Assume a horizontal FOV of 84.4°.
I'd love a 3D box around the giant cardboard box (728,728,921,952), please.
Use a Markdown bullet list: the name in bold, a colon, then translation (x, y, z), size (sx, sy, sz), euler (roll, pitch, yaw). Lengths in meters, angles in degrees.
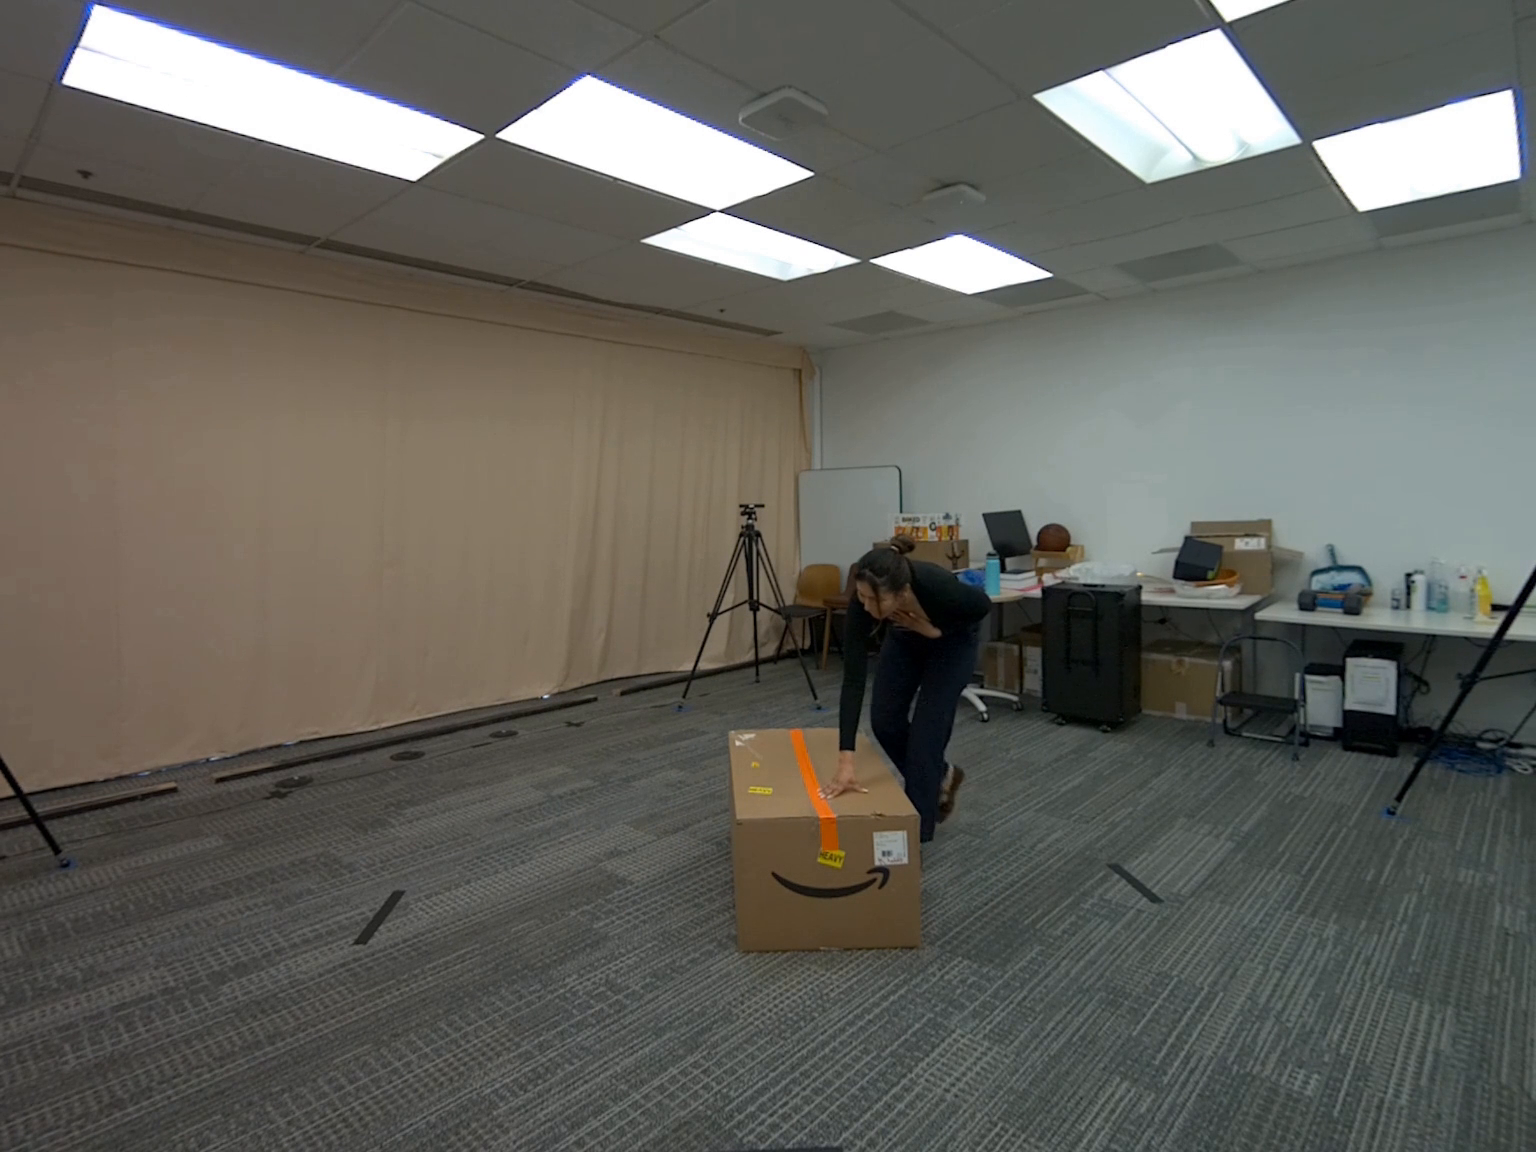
- **giant cardboard box**: translation (0.158, 0.911, 3.118), size (0.576, 0.425, 1.031), euler (-2, 5, -3)
